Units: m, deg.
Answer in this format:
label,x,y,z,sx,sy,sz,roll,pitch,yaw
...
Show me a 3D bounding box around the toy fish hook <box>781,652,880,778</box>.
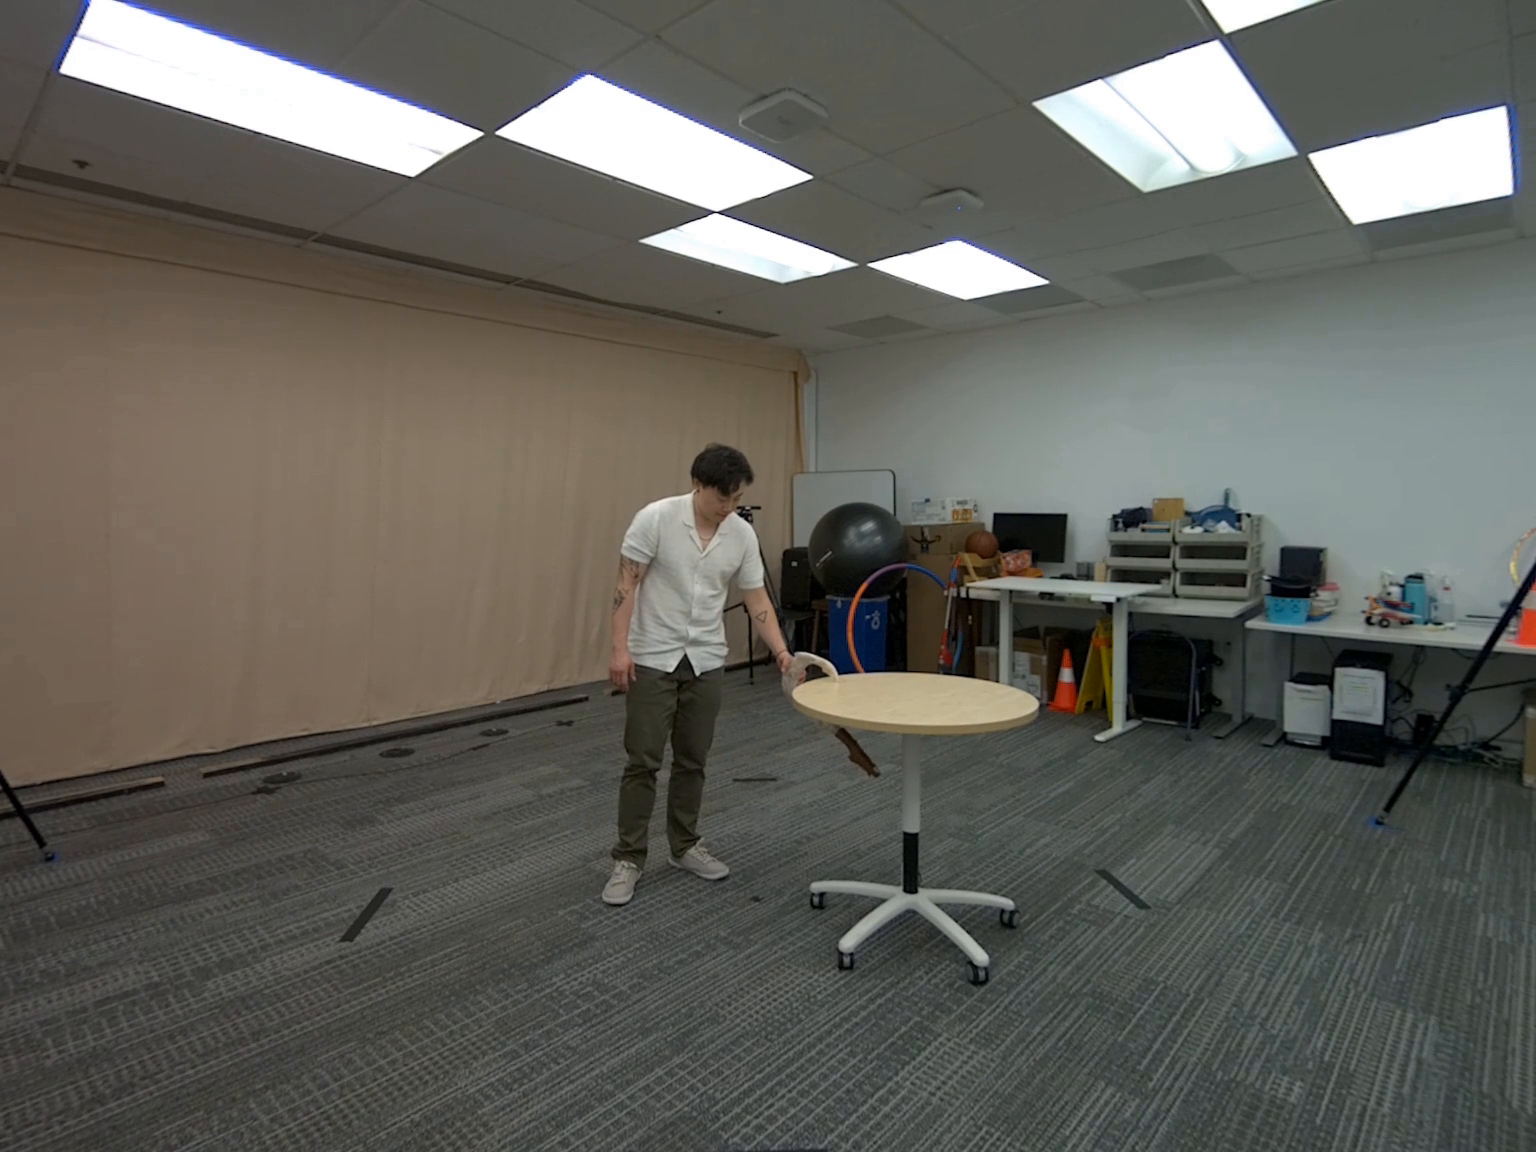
label,x,y,z,sx,sy,sz,roll,pitch,yaw
toy fish hook,0.243,0.472,2.908,0.047,0.224,0.523,-5,40,-47
